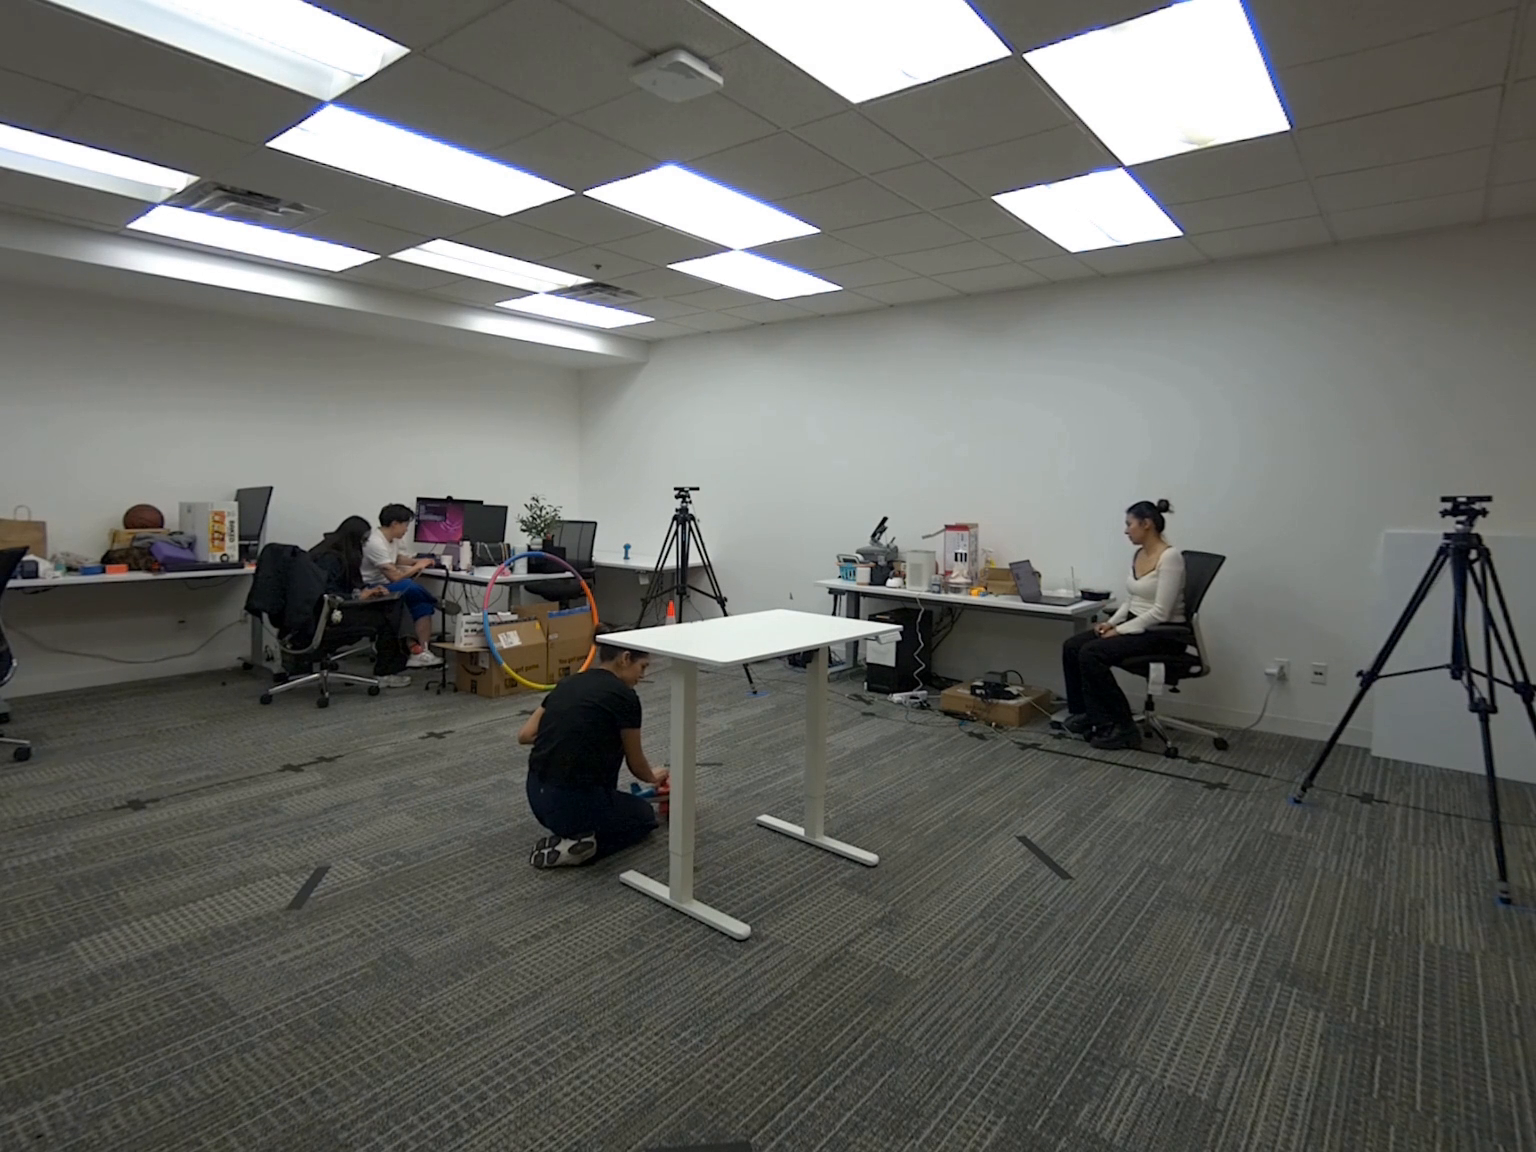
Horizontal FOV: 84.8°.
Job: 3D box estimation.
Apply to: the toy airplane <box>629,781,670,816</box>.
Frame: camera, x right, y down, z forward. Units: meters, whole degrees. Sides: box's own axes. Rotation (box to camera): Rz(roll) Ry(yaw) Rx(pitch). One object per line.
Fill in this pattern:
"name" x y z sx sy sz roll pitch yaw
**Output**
"toy airplane" -0.419 0.936 3.627 0.254 0.156 0.257 -1 6 -21
